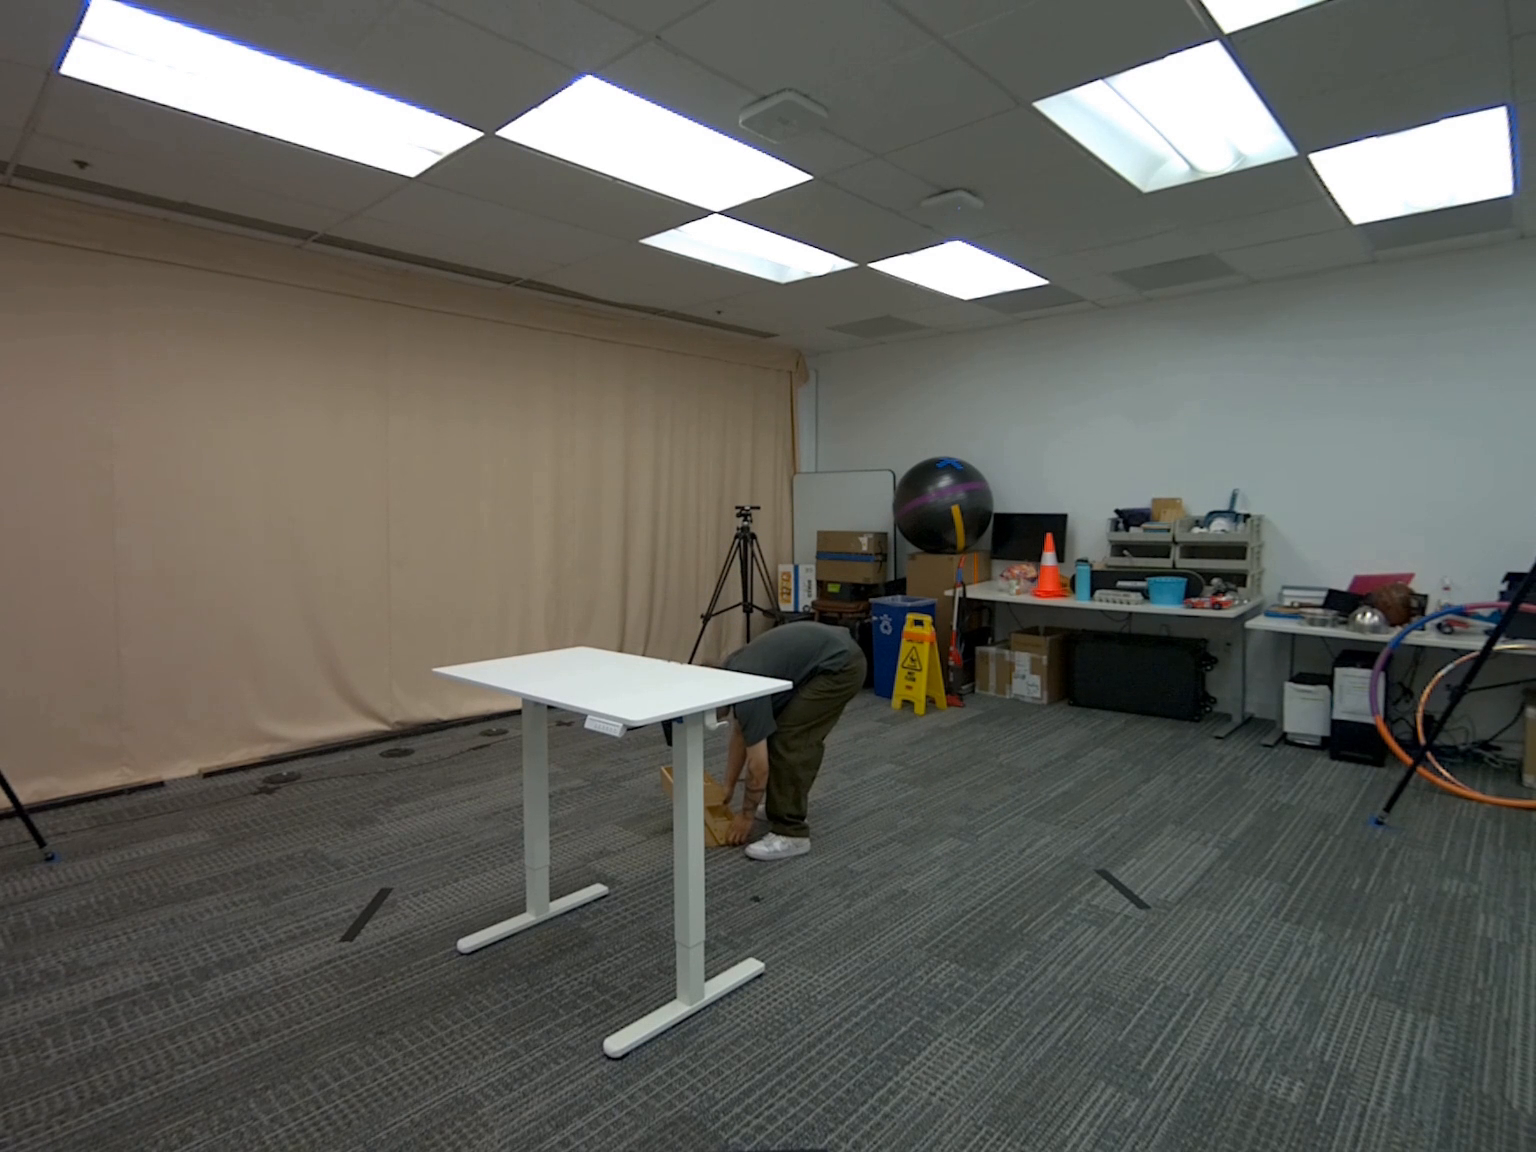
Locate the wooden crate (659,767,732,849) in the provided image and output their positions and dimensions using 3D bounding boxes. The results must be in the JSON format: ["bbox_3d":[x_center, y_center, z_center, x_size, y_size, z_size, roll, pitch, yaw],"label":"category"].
[{"bbox_3d":[-0.284,0.969,3.589,0.297,0.272,0.331,-4,5,-18],"label":"wooden crate"}]
